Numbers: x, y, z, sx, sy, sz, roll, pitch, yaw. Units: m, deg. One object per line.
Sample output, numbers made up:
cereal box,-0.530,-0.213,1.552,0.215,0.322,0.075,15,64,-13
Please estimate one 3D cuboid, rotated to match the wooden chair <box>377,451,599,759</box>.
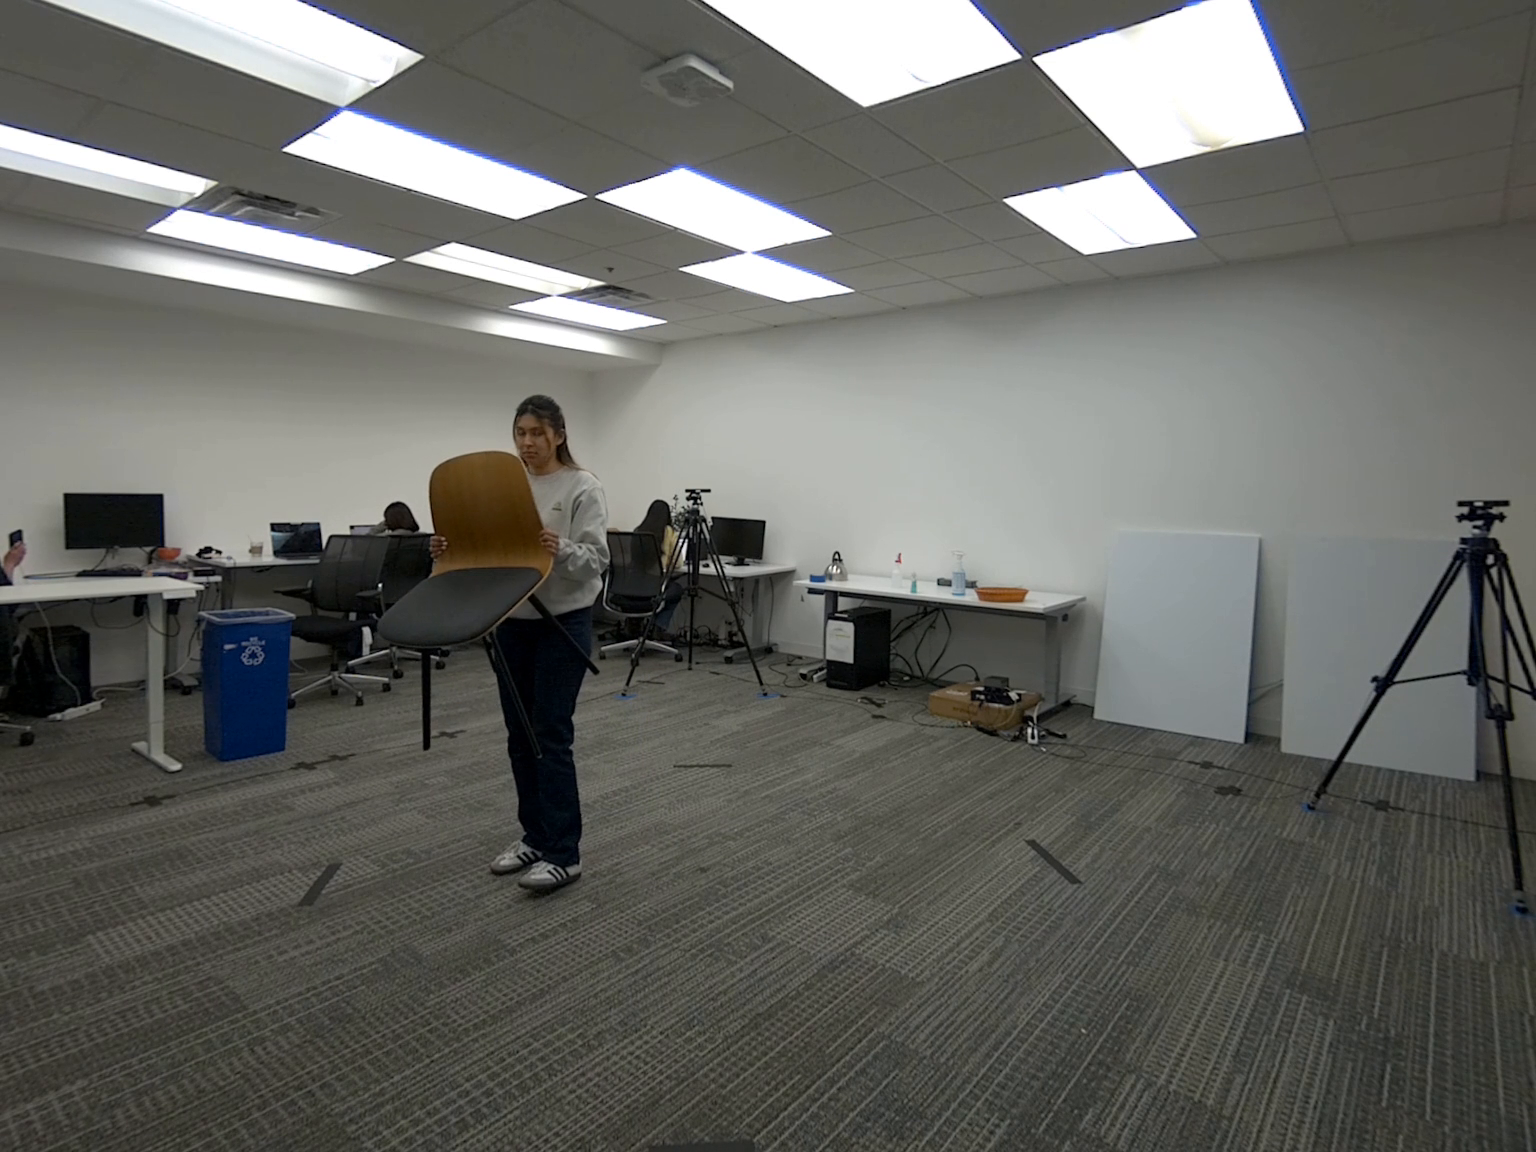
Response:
wooden chair,-0.958,0.092,2.739,0.488,0.858,0.524,-1,23,19
